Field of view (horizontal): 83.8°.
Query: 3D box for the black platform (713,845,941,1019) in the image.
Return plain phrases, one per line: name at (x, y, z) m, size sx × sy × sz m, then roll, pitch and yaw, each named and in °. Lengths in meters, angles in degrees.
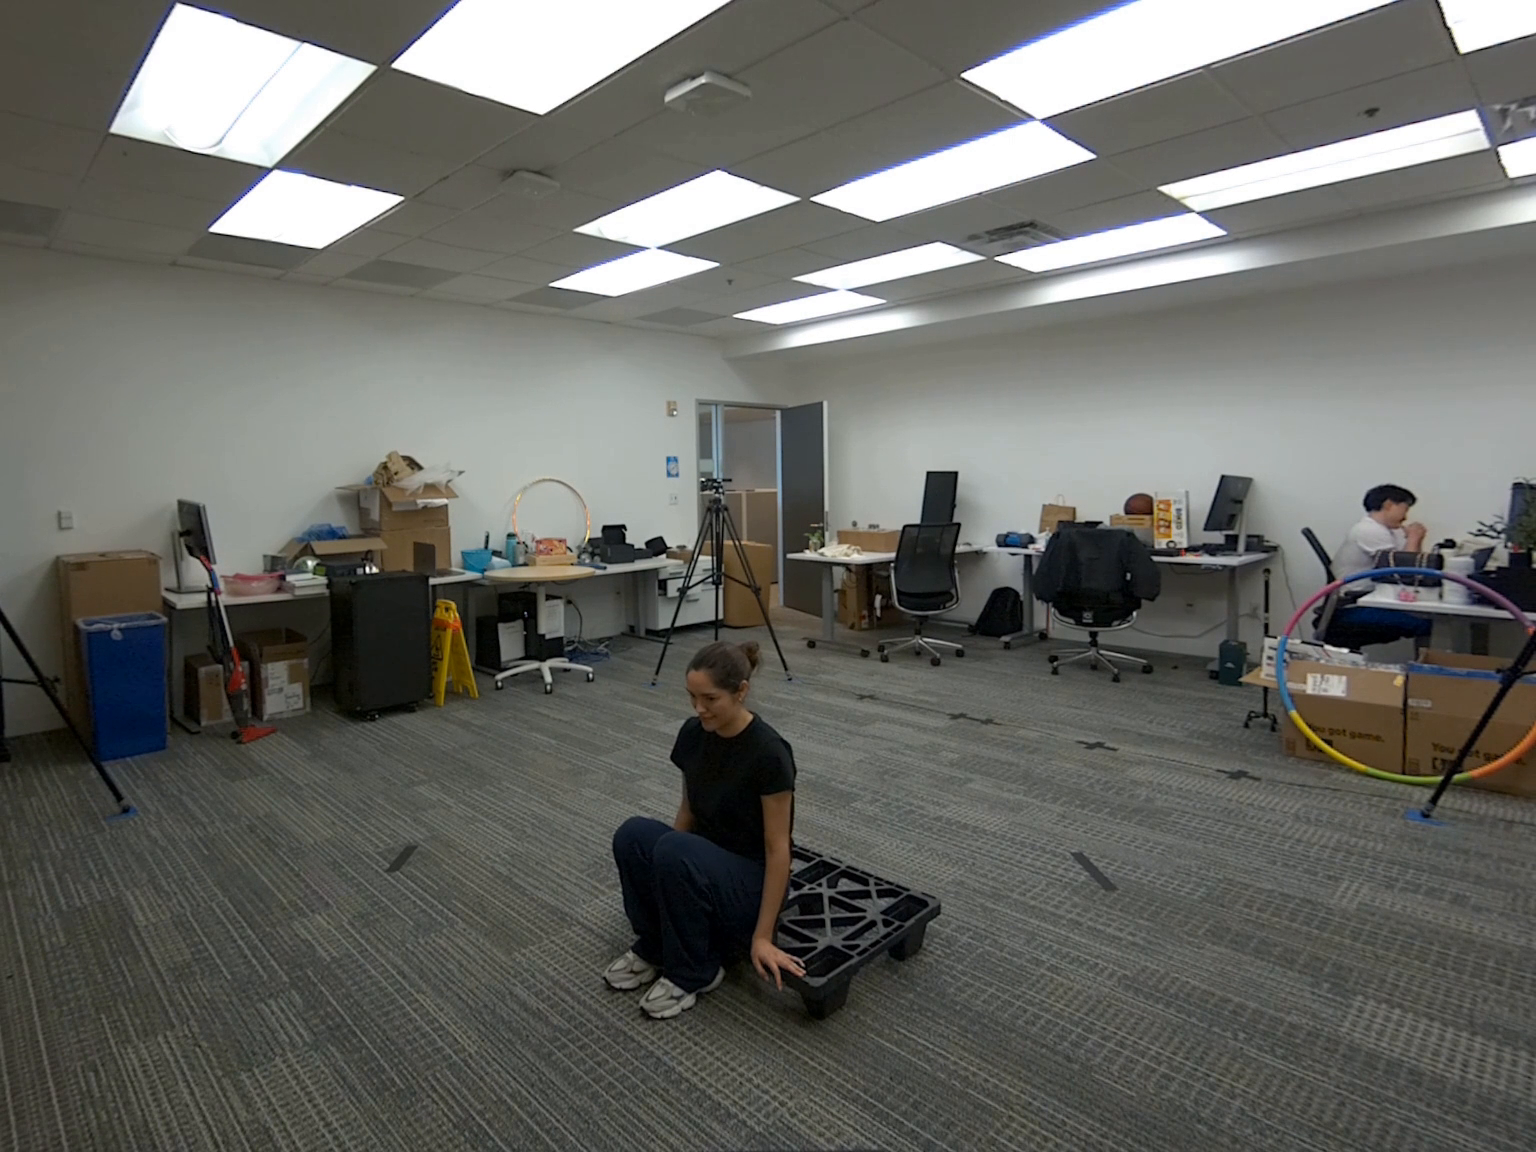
black platform at (0.032, 1.029, 2.645) m, size 0.831 × 0.142 × 0.589 m, roll 6°, pitch 9°, yaw 43°
